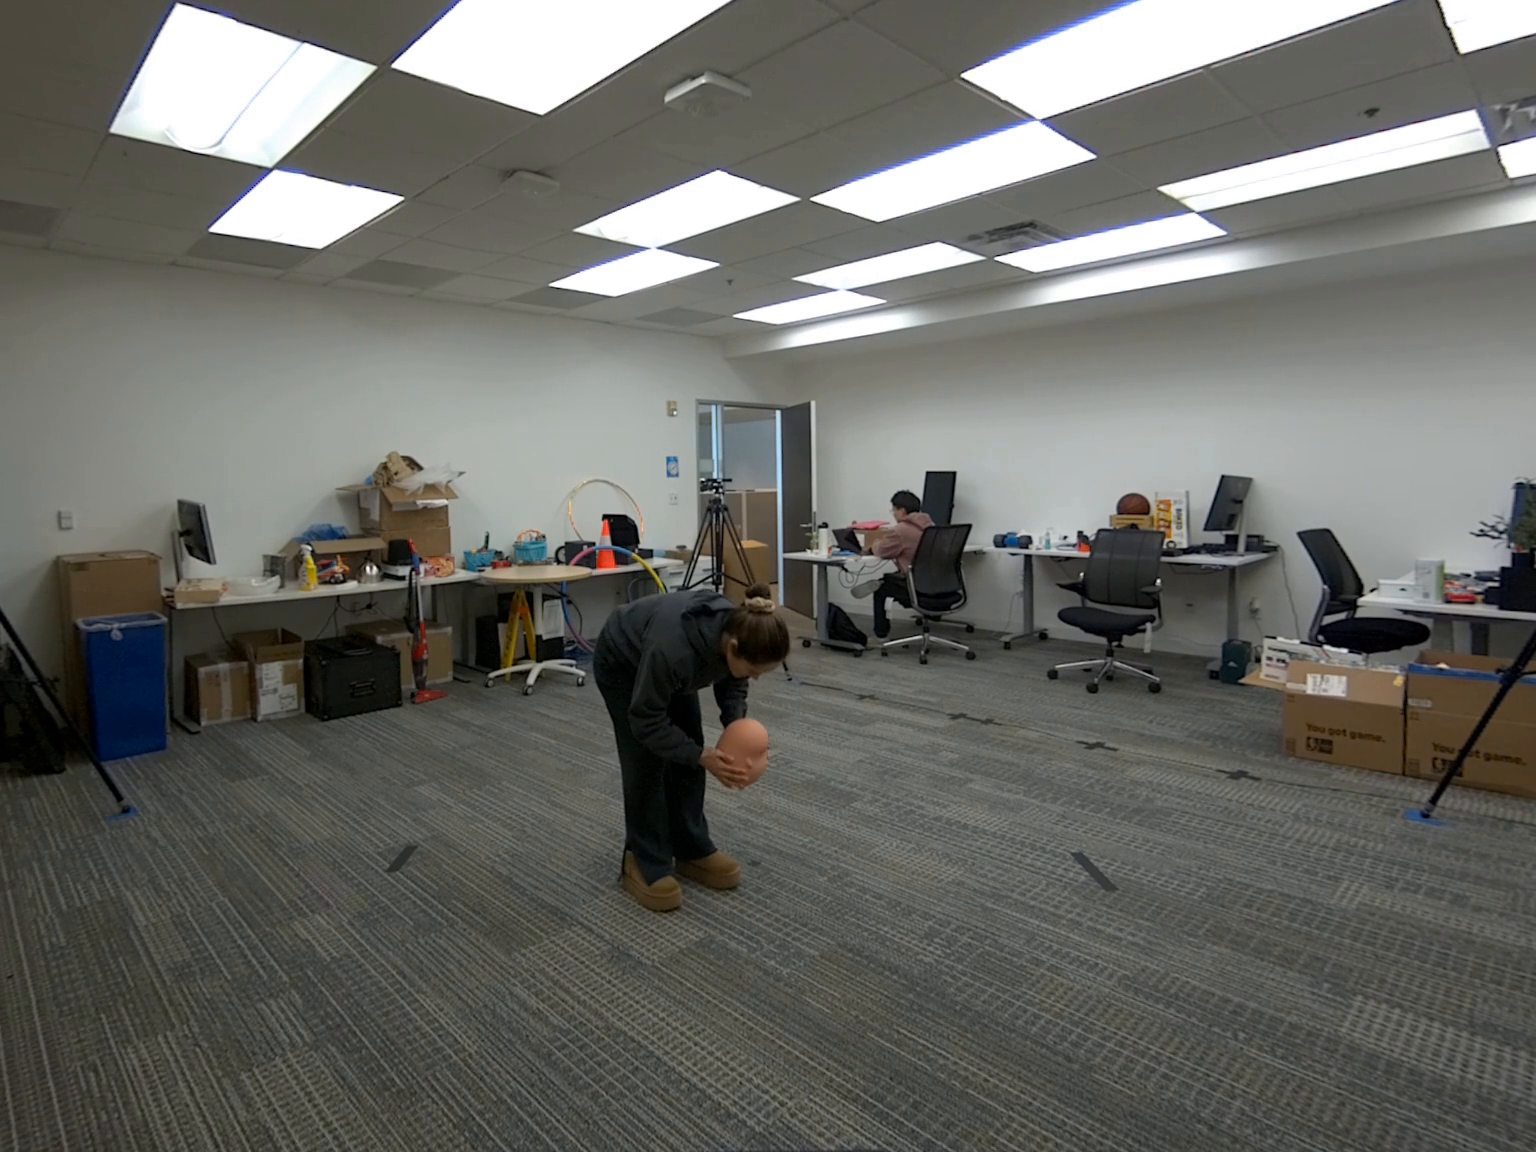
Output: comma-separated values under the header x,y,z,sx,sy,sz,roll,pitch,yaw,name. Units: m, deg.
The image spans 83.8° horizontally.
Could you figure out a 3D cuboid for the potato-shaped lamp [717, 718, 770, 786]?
x,y,z,sx,sy,sz,roll,pitch,yaw,name
-0.079,0.552,2.690,0.176,0.197,0.161,31,15,22,potato-shaped lamp
